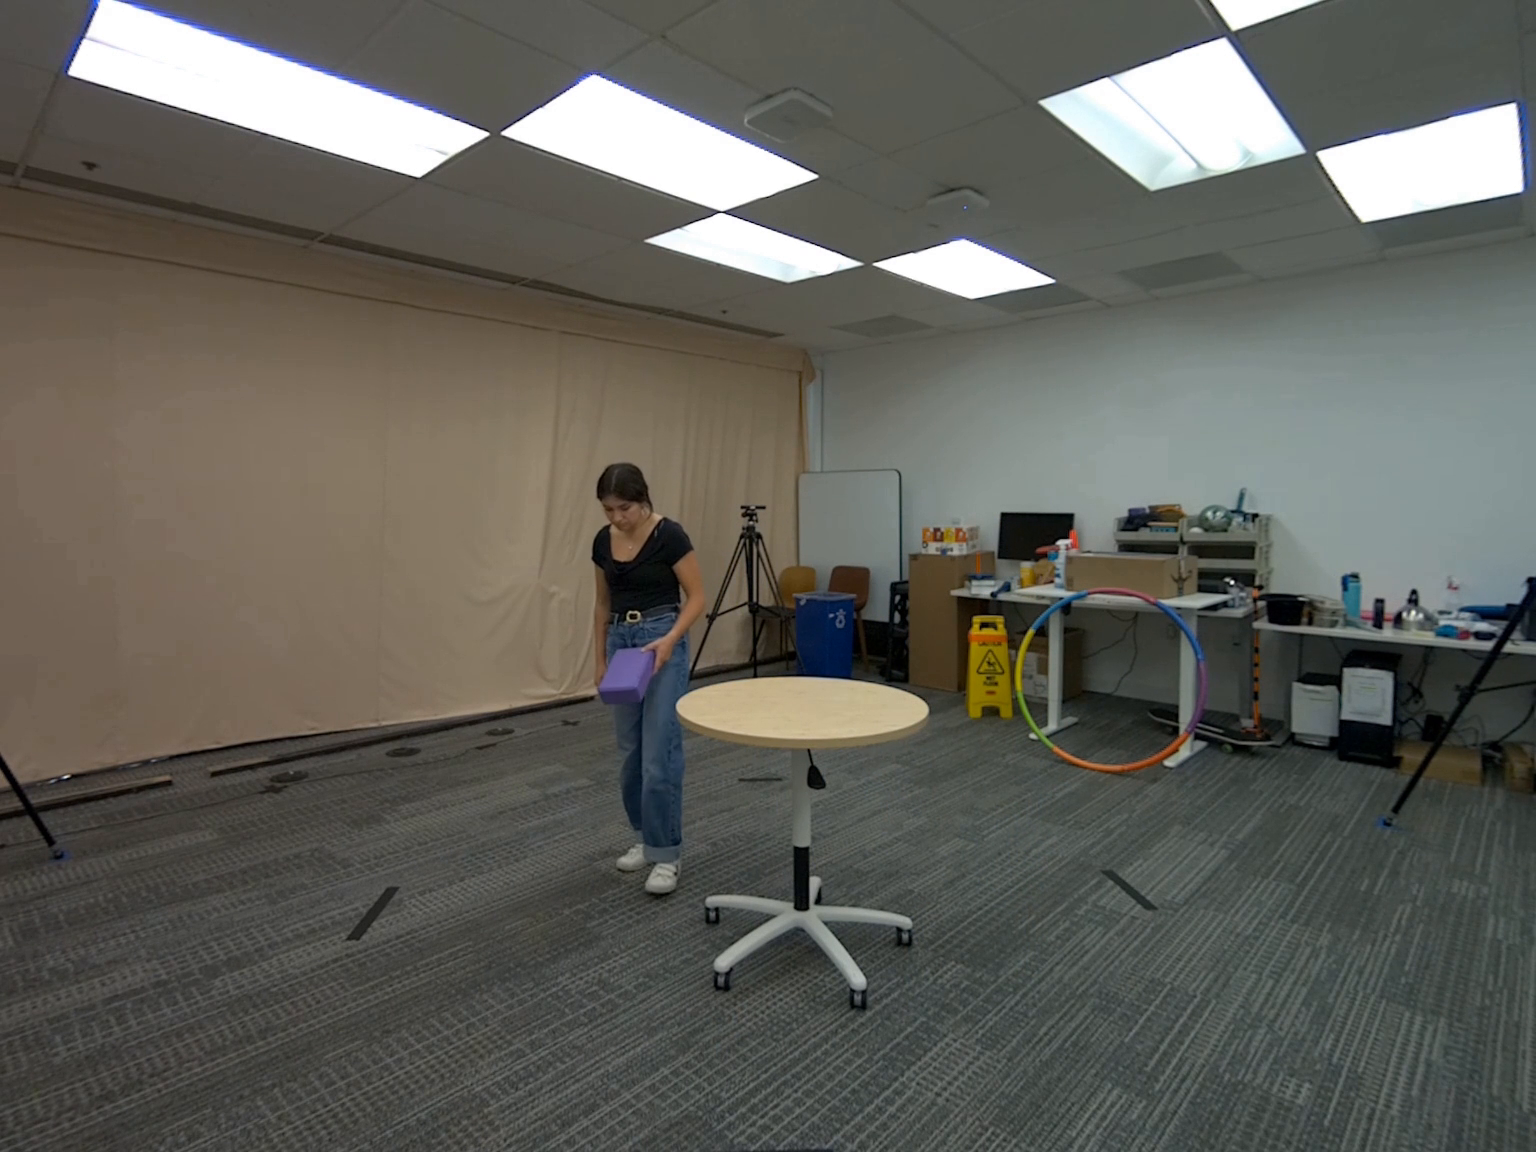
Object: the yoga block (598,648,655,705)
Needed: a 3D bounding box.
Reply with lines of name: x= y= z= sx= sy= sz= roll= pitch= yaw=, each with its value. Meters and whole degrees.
yoga block: x=-0.476 y=0.348 z=2.984 sx=0.152 sy=0.075 sz=0.230 roll=-8 pitch=30 yaw=19
